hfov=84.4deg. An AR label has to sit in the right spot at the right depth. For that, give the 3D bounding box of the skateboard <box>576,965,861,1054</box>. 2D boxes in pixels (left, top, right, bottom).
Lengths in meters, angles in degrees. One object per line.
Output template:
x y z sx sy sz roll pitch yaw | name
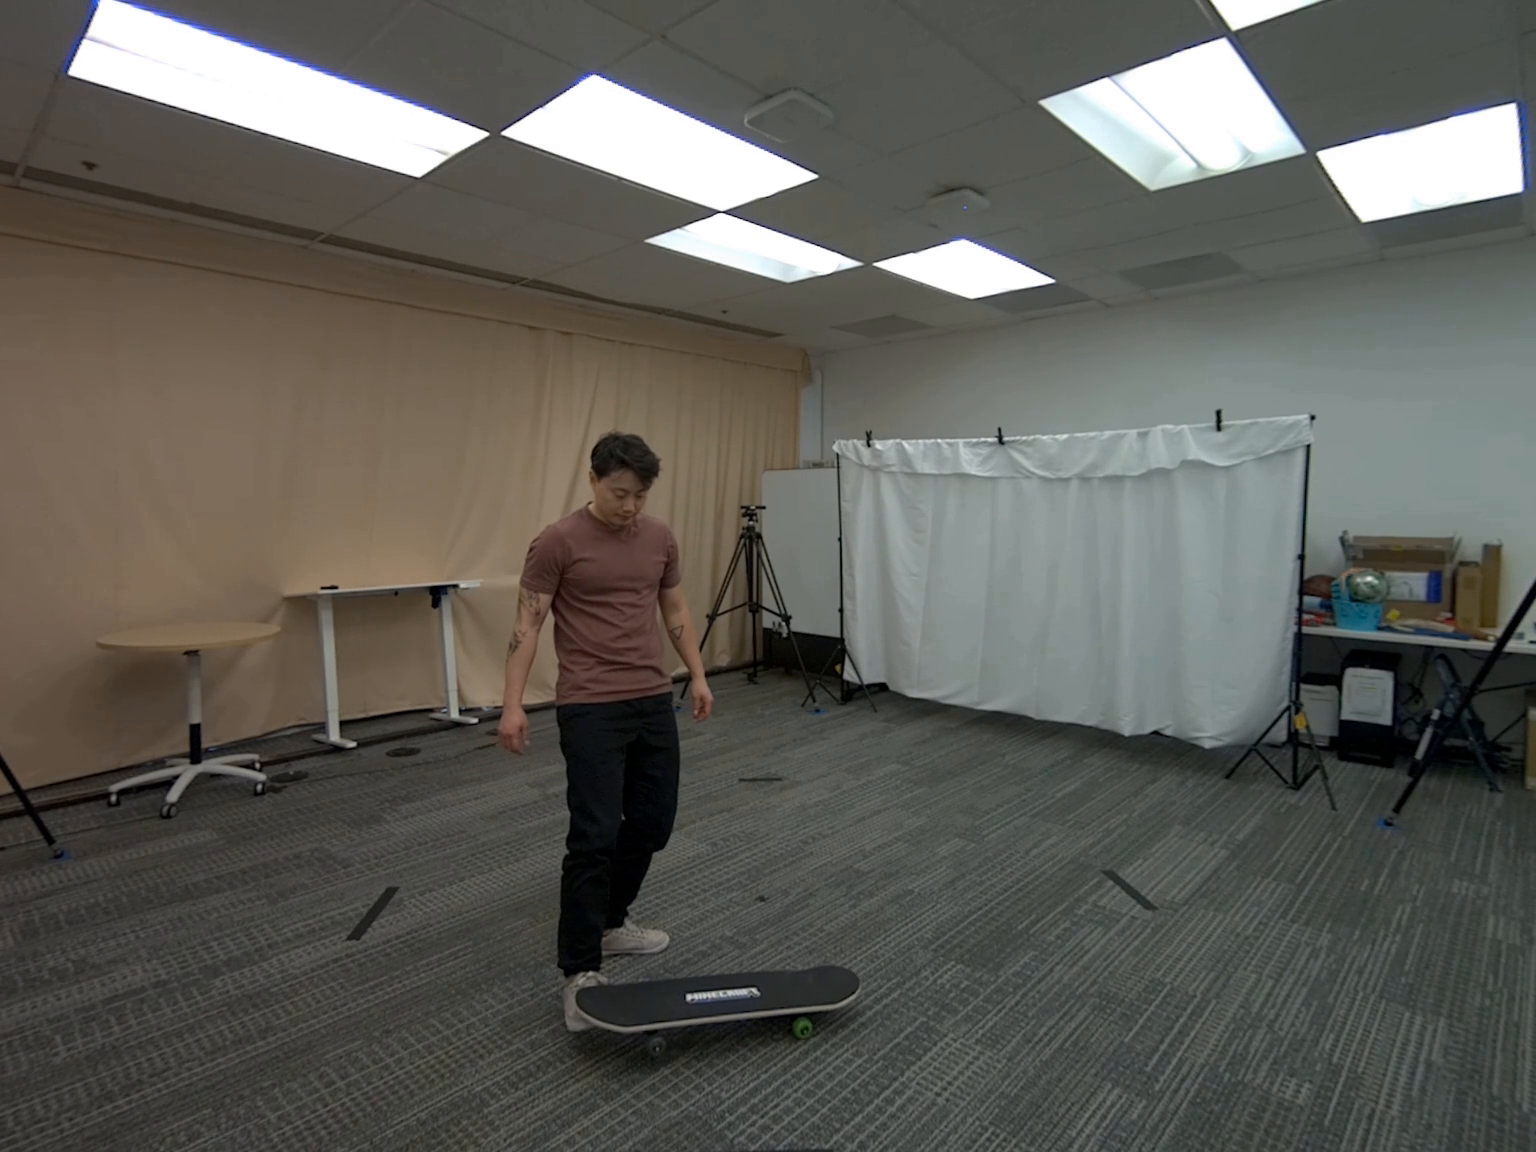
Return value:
-0.117 1.137 2.211 0.770 0.110 0.197 3 1 -18 | skateboard
